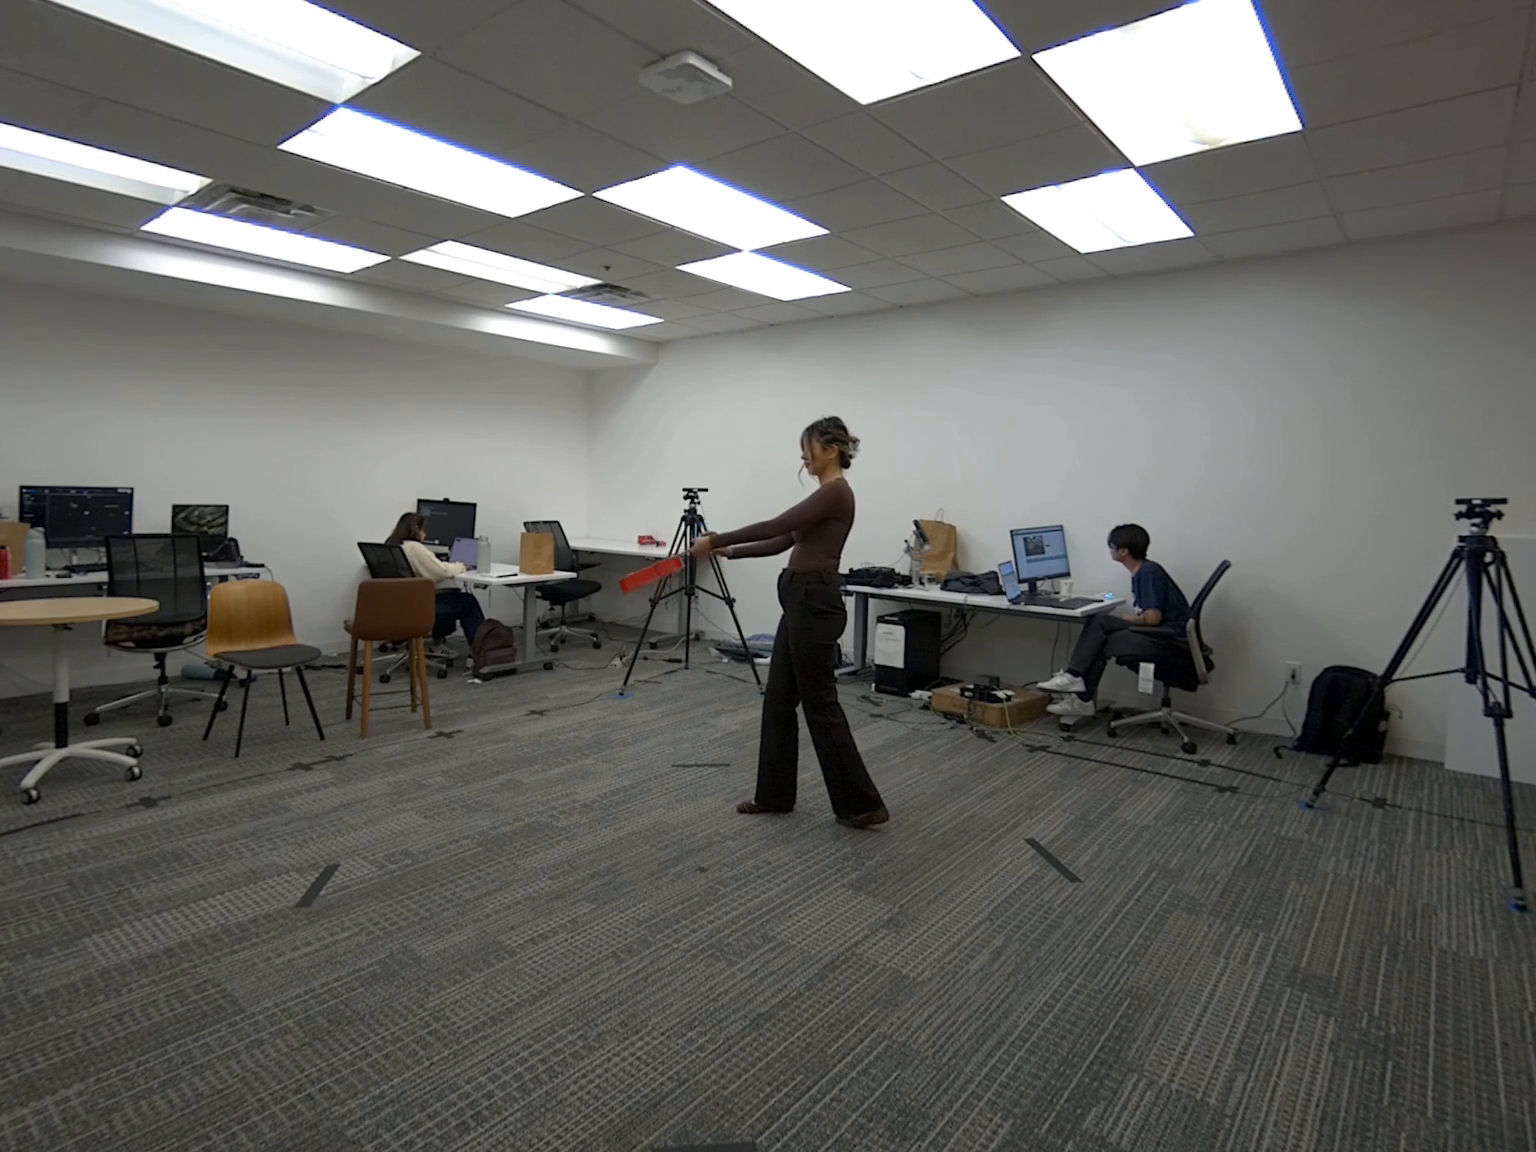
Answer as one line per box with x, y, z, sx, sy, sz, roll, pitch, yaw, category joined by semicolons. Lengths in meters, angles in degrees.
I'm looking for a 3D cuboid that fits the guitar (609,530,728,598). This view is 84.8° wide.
-0.400;-0.052;3.501;0.502;0.071;0.190;-25;-2;15;guitar
